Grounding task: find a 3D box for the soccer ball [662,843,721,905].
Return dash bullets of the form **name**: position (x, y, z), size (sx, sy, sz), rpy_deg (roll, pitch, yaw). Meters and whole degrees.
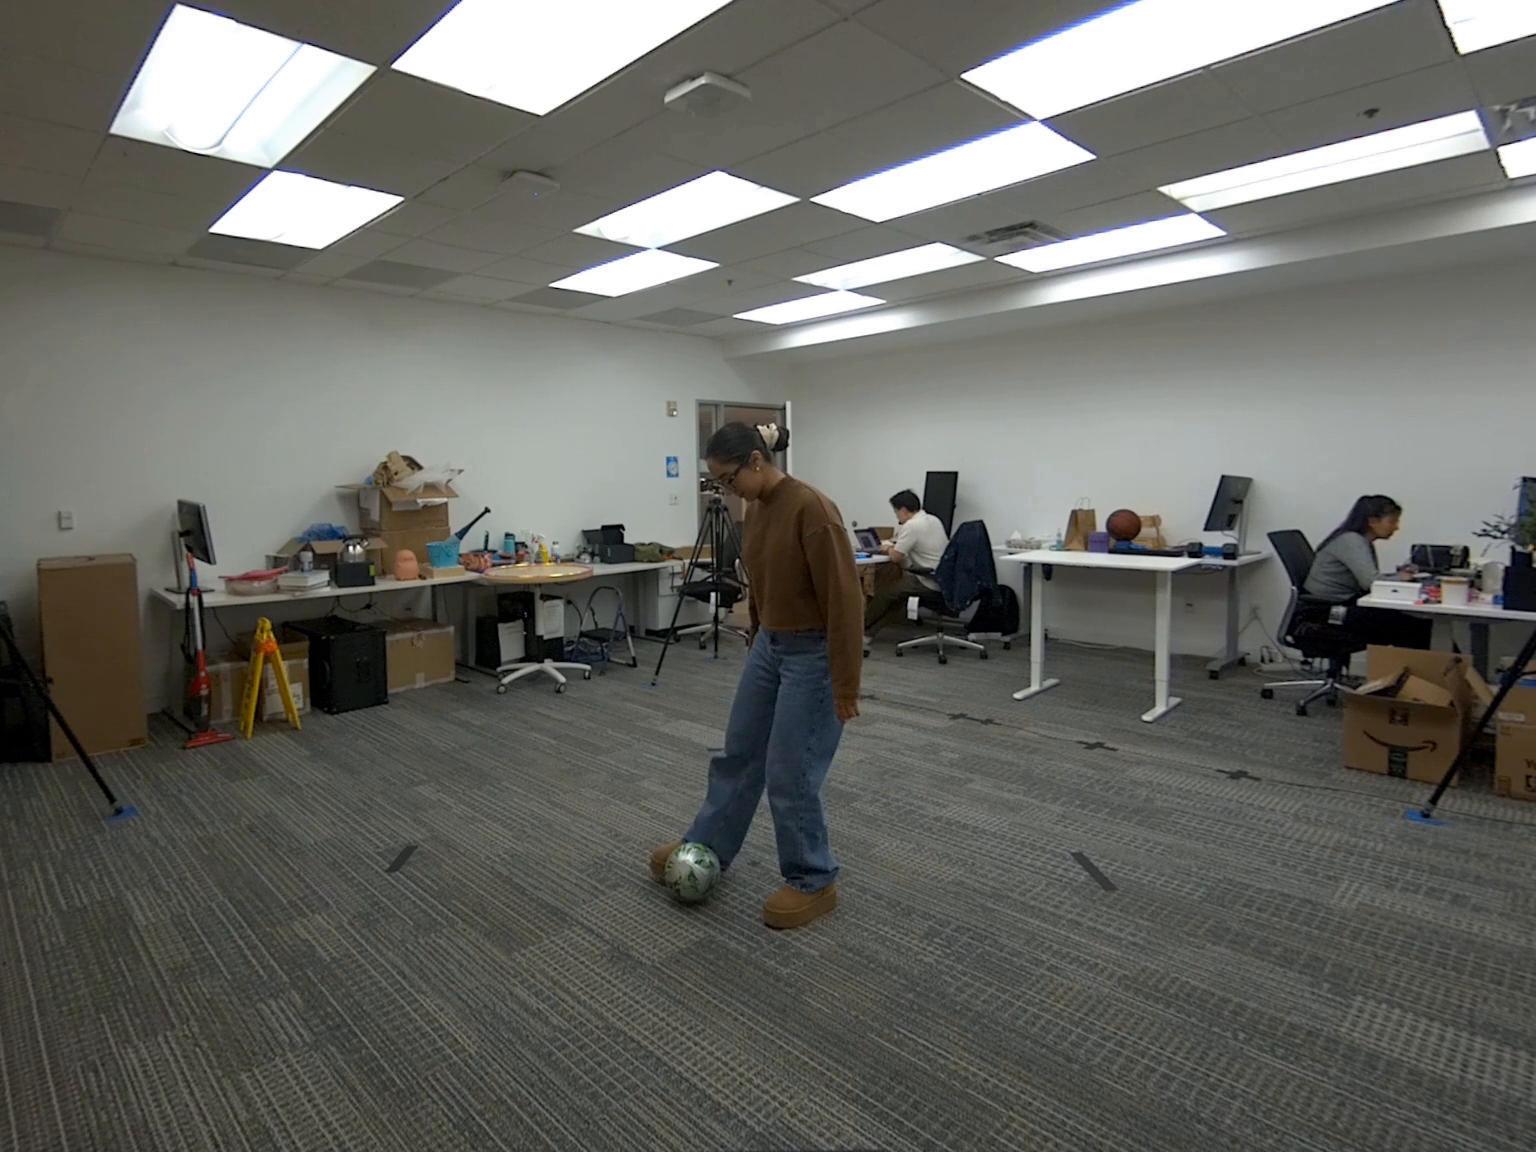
- **soccer ball**: position (-0.244, 0.990, 2.827), size (0.187, 0.187, 0.188), rpy_deg (-1, 5, -2)
